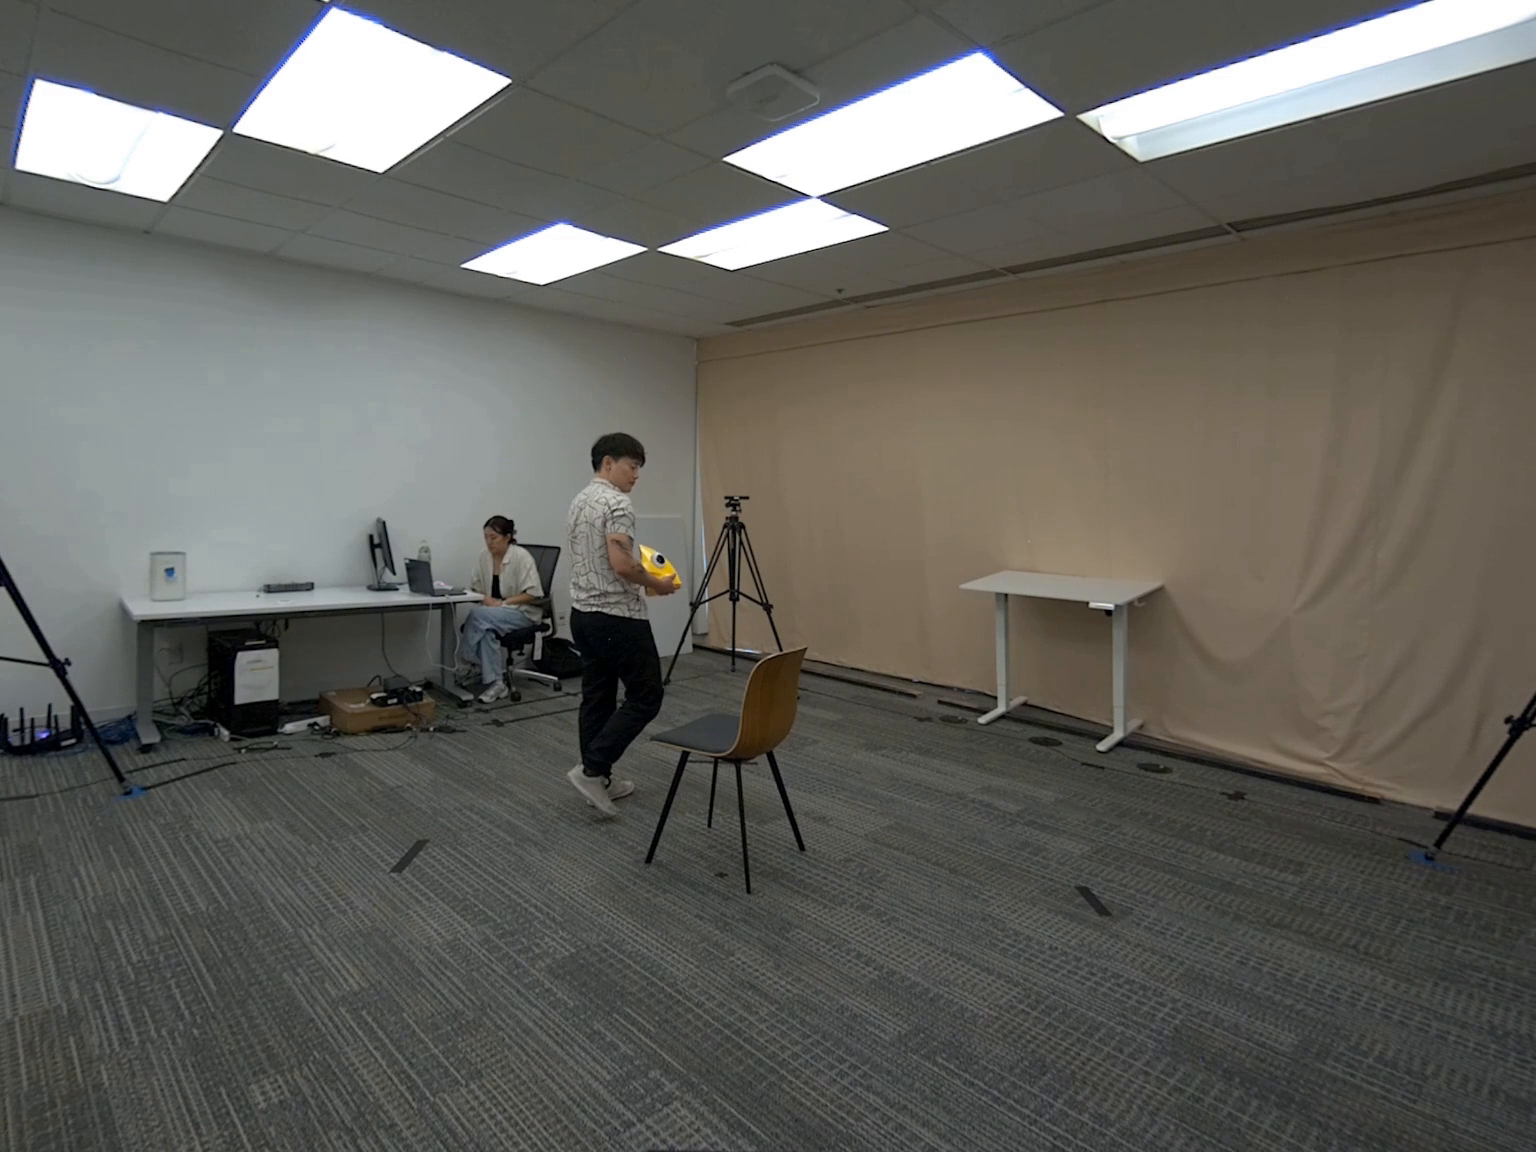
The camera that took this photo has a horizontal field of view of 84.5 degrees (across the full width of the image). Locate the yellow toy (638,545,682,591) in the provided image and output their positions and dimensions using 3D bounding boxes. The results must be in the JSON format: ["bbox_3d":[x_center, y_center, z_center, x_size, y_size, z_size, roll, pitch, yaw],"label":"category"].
[{"bbox_3d":[-0.523,-0.045,3.865,0.191,0.233,0.204,-9,-14,-16],"label":"yellow toy"}]
